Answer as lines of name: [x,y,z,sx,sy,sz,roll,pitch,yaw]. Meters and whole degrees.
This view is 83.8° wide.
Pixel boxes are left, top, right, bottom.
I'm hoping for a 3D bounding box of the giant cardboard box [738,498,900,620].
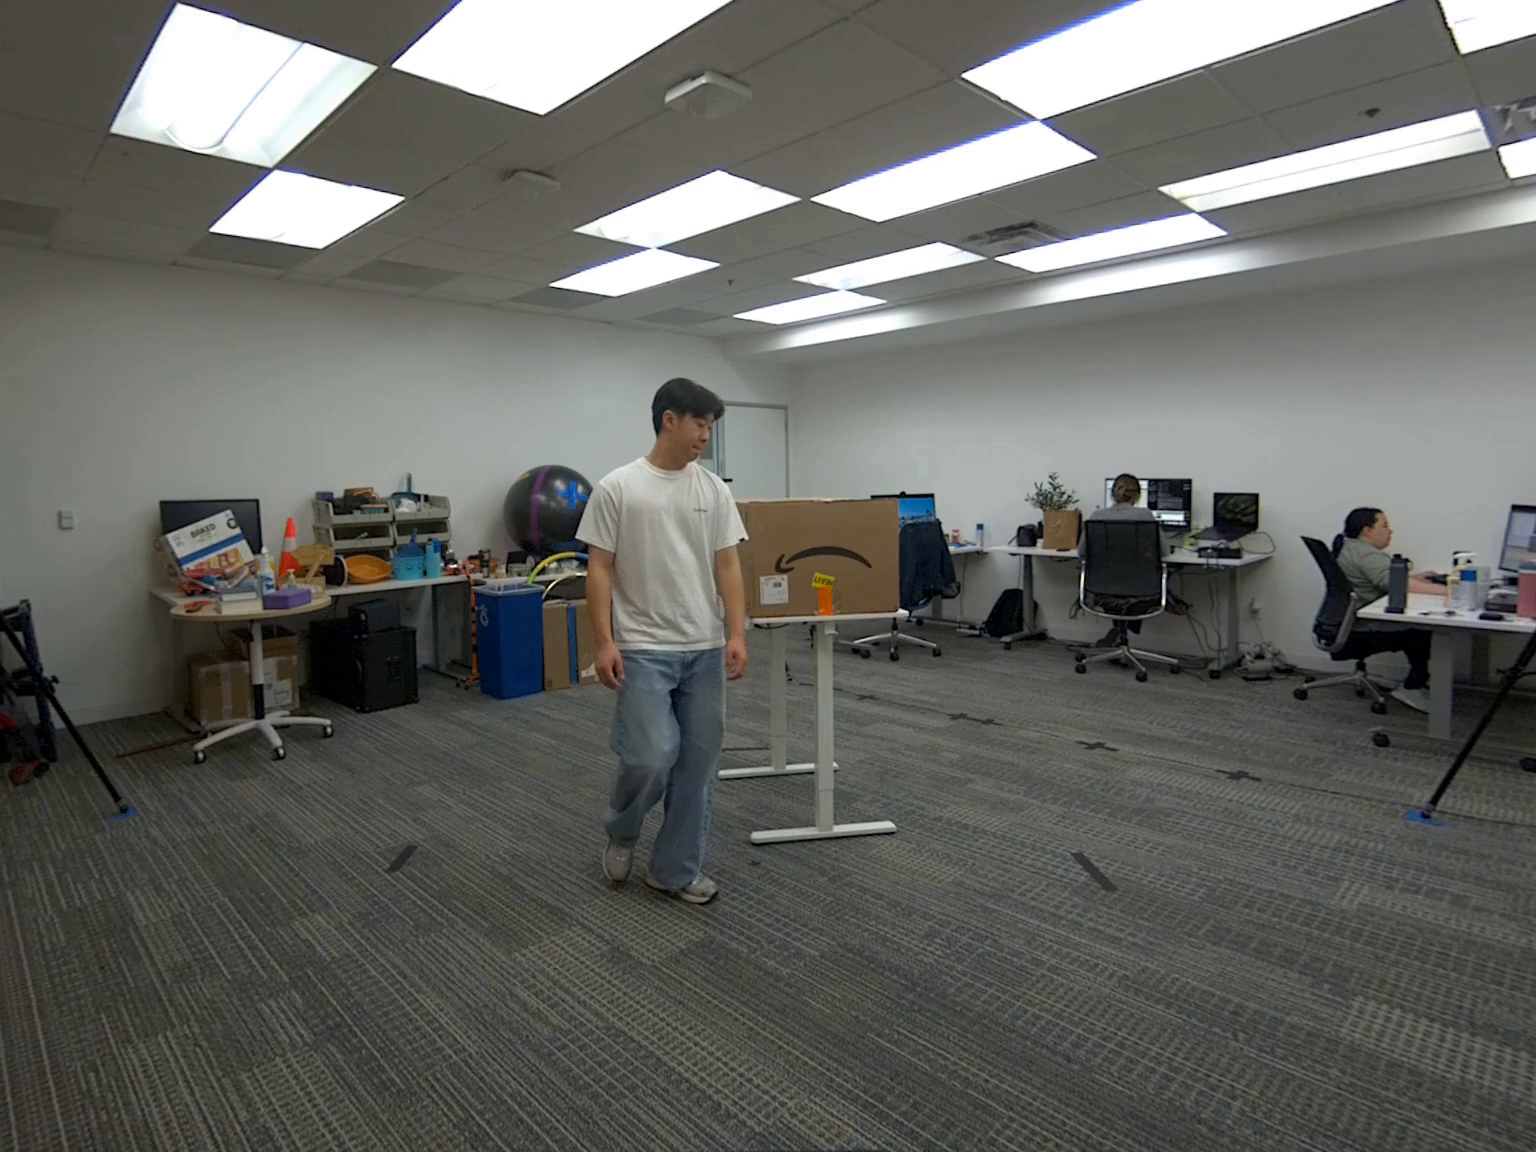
giant cardboard box: [0.098,-0.112,3.645,0.572,0.424,1.040,-3,5,-12]
